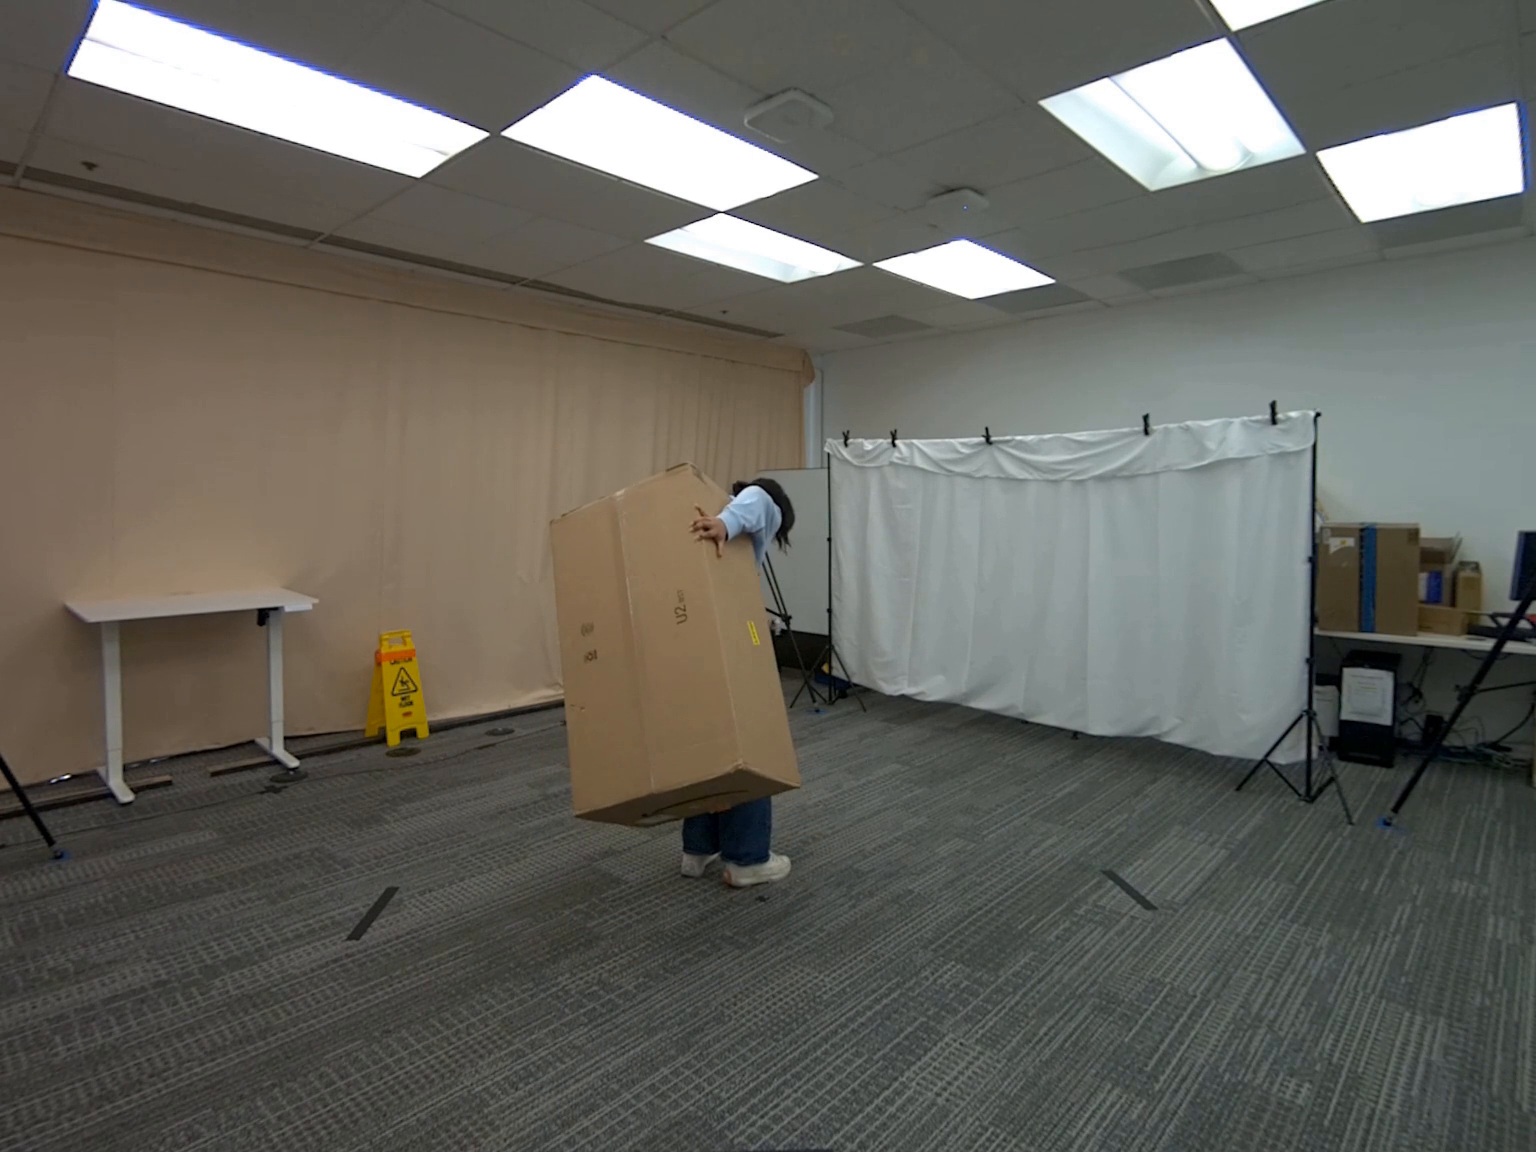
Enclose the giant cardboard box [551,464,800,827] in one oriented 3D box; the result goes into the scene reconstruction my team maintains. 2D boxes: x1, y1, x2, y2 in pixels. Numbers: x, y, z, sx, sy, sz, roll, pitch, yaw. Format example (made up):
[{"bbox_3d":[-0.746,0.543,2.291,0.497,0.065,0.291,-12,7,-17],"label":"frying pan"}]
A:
[{"bbox_3d":[-0.327,0.235,2.786,0.586,1.047,0.411,-22,-29,19],"label":"giant cardboard box"}]
